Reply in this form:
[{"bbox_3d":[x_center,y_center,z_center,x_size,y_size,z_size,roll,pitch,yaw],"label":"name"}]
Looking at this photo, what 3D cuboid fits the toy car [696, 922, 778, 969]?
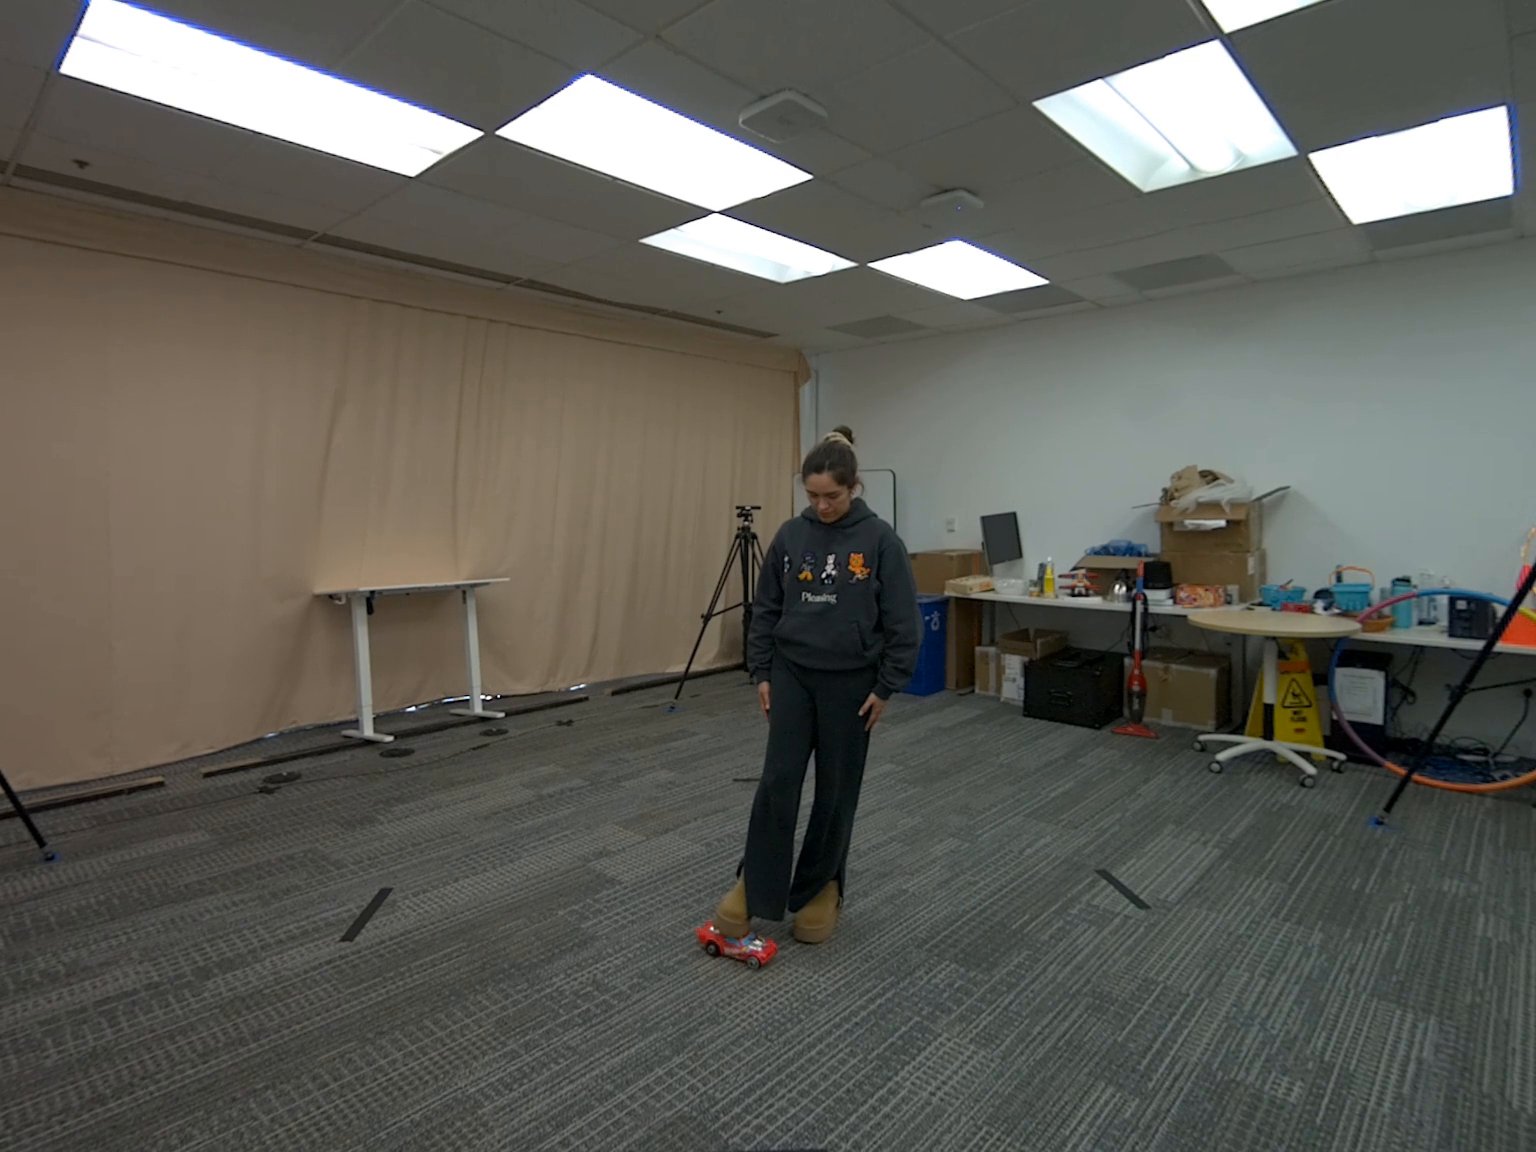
[{"bbox_3d":[-0.083,1.143,2.621,0.262,0.083,0.127,14,11,29],"label":"toy car"}]
